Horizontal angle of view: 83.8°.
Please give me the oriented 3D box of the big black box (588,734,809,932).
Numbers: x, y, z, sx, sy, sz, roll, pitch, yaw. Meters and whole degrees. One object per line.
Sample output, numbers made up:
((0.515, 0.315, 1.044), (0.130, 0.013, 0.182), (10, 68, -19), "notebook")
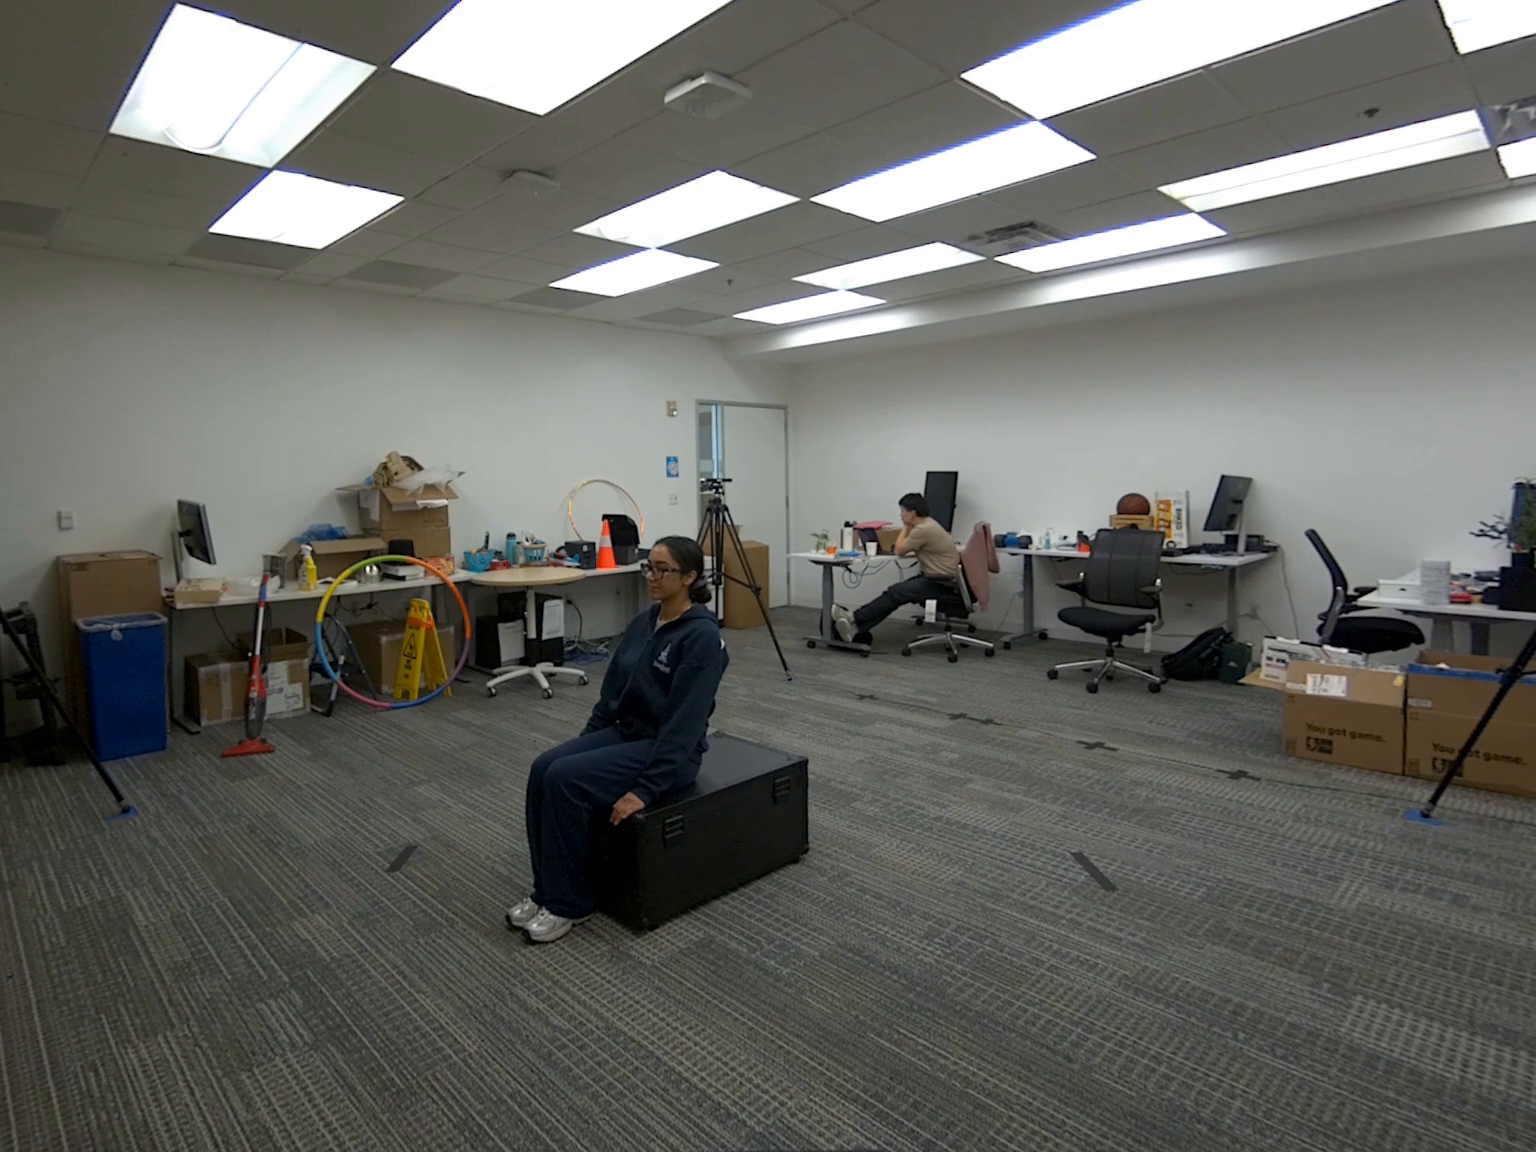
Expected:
((-0.265, 0.867, 3.059), (0.840, 0.394, 0.537), (-9, 10, -44), "big black box")
